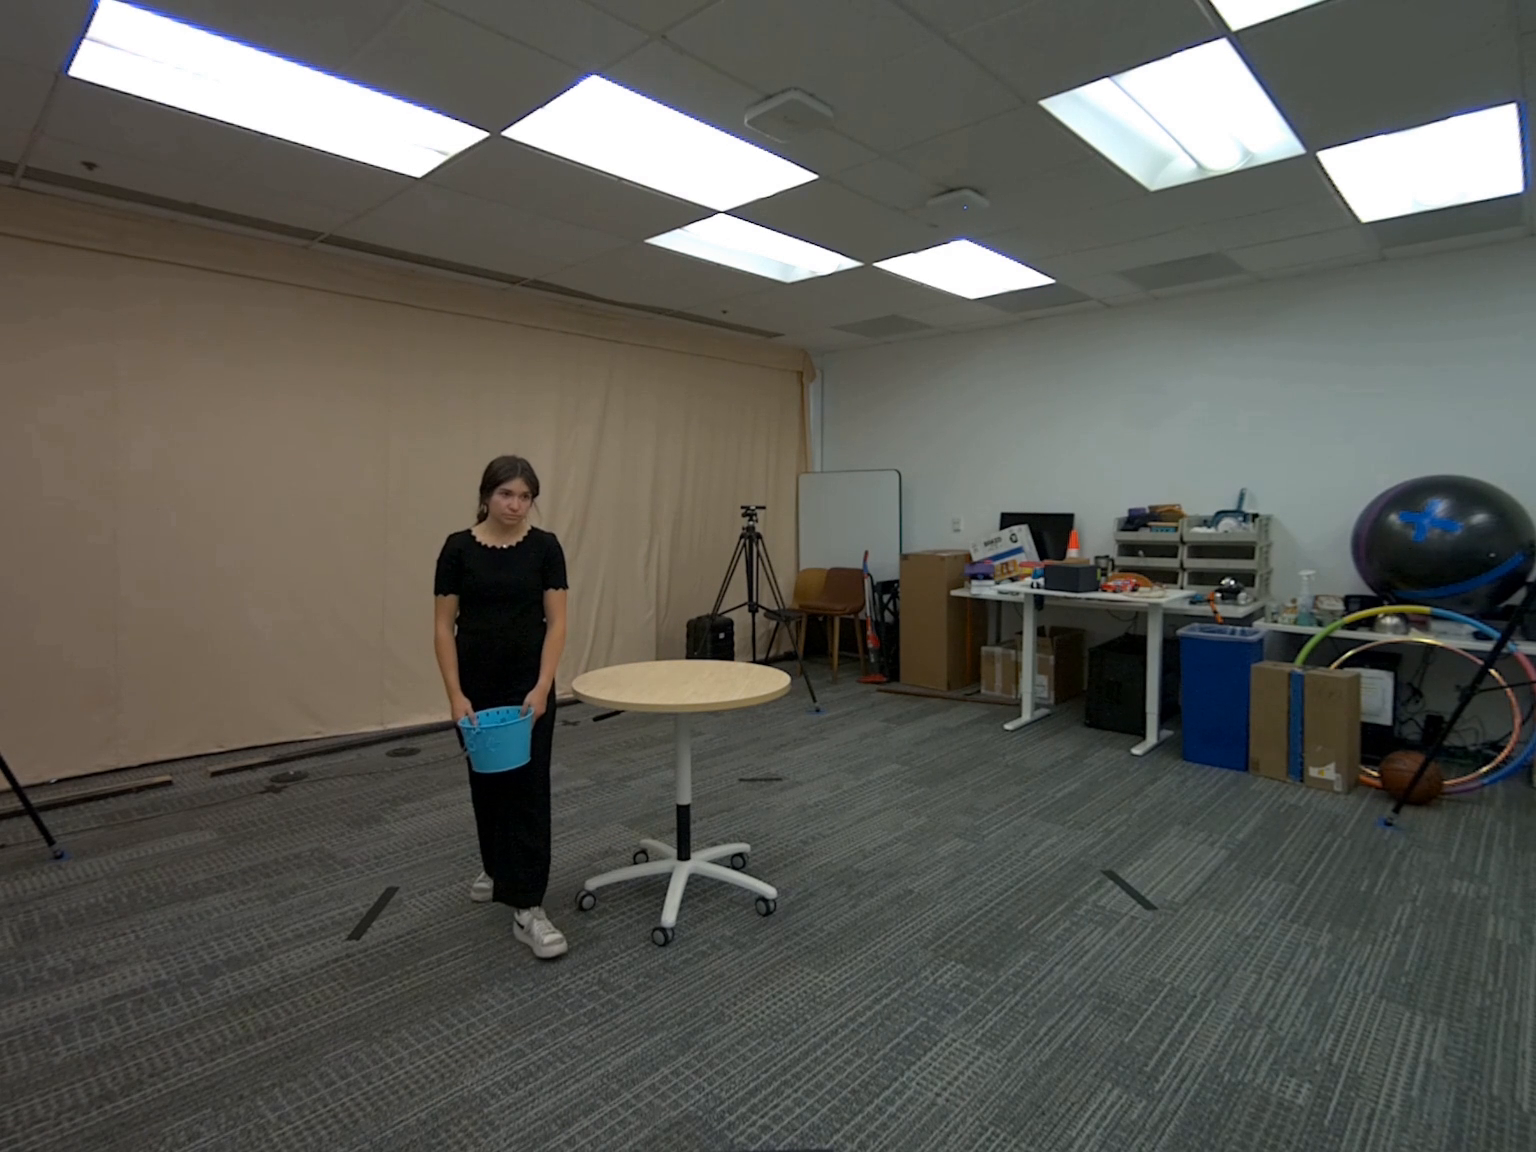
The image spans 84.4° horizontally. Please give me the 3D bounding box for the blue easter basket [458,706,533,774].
[{"bbox_3d":[-0.849,0.514,2.685,0.243,0.155,0.244,-5,5,-1],"label":"blue easter basket"}]
